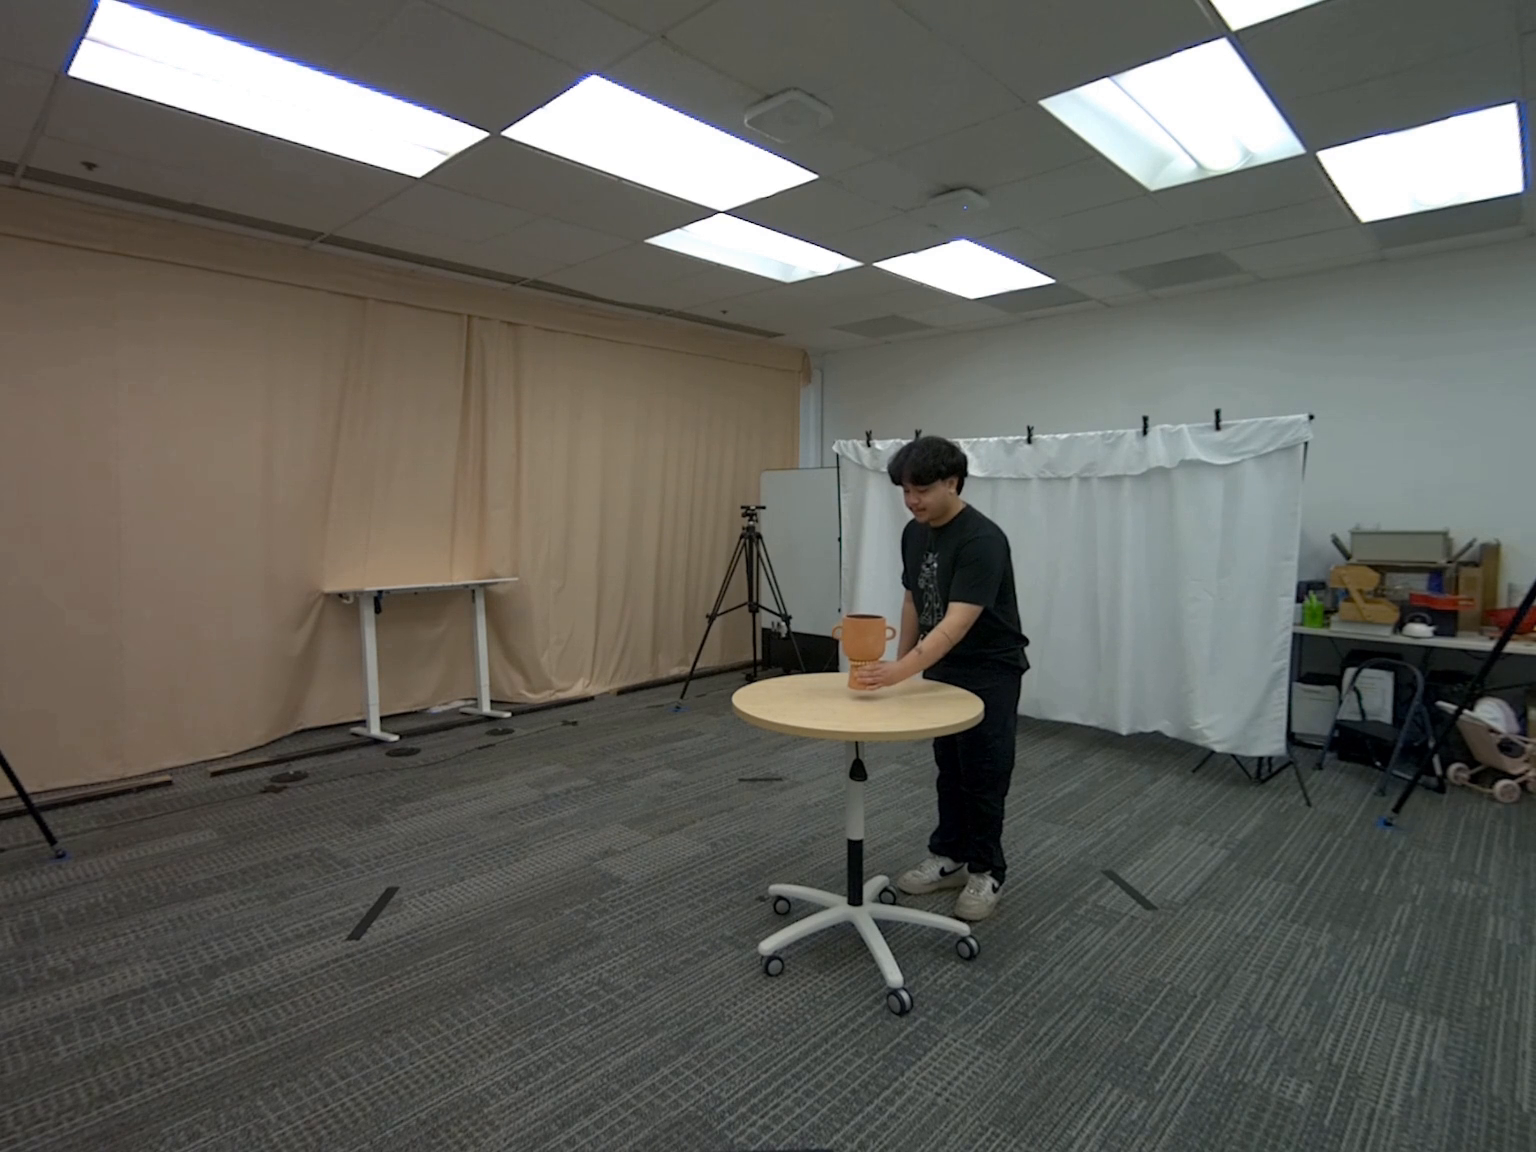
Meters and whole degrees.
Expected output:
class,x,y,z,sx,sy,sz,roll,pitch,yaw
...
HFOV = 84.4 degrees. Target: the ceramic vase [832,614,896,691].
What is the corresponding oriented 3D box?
class,x,y,z,sx,sy,sz,roll,pitch,yaw
ceramic vase,0.306,0.237,2.606,0.130,0.219,0.164,-2,3,-45
